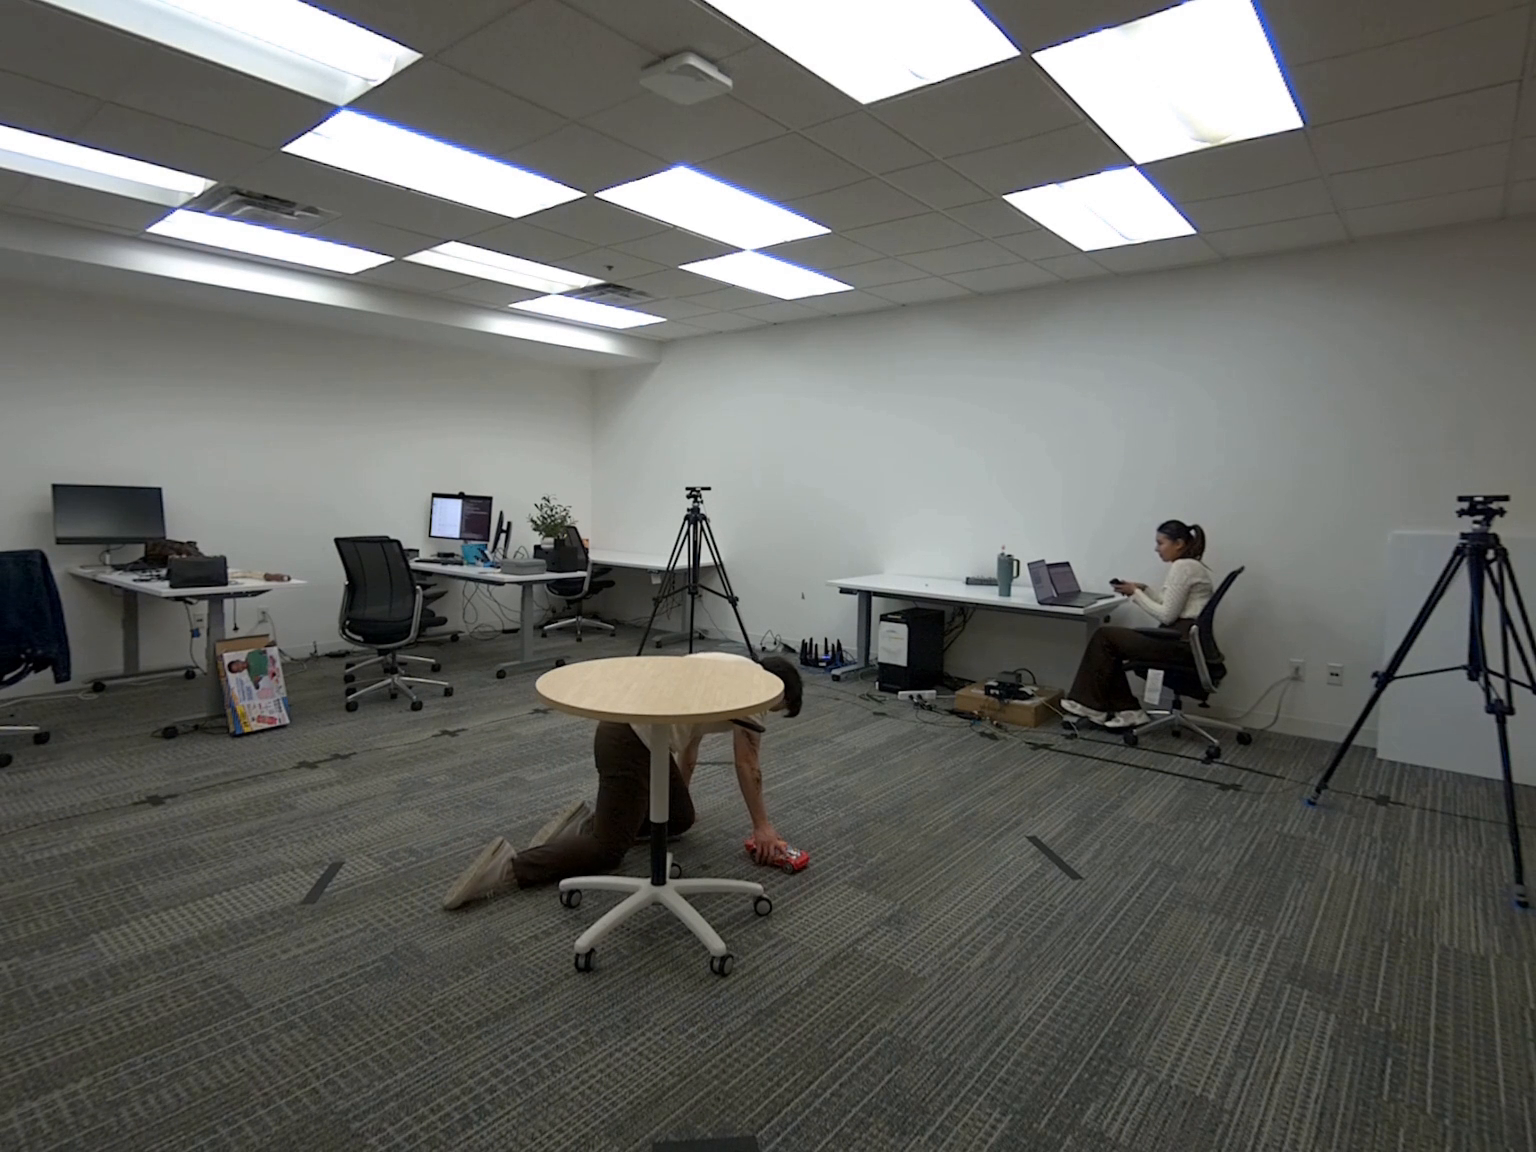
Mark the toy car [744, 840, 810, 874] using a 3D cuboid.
[{"bbox_3d":[0.021,1.034,3.179,0.264,0.082,0.126,18,14,37],"label":"toy car"}]
